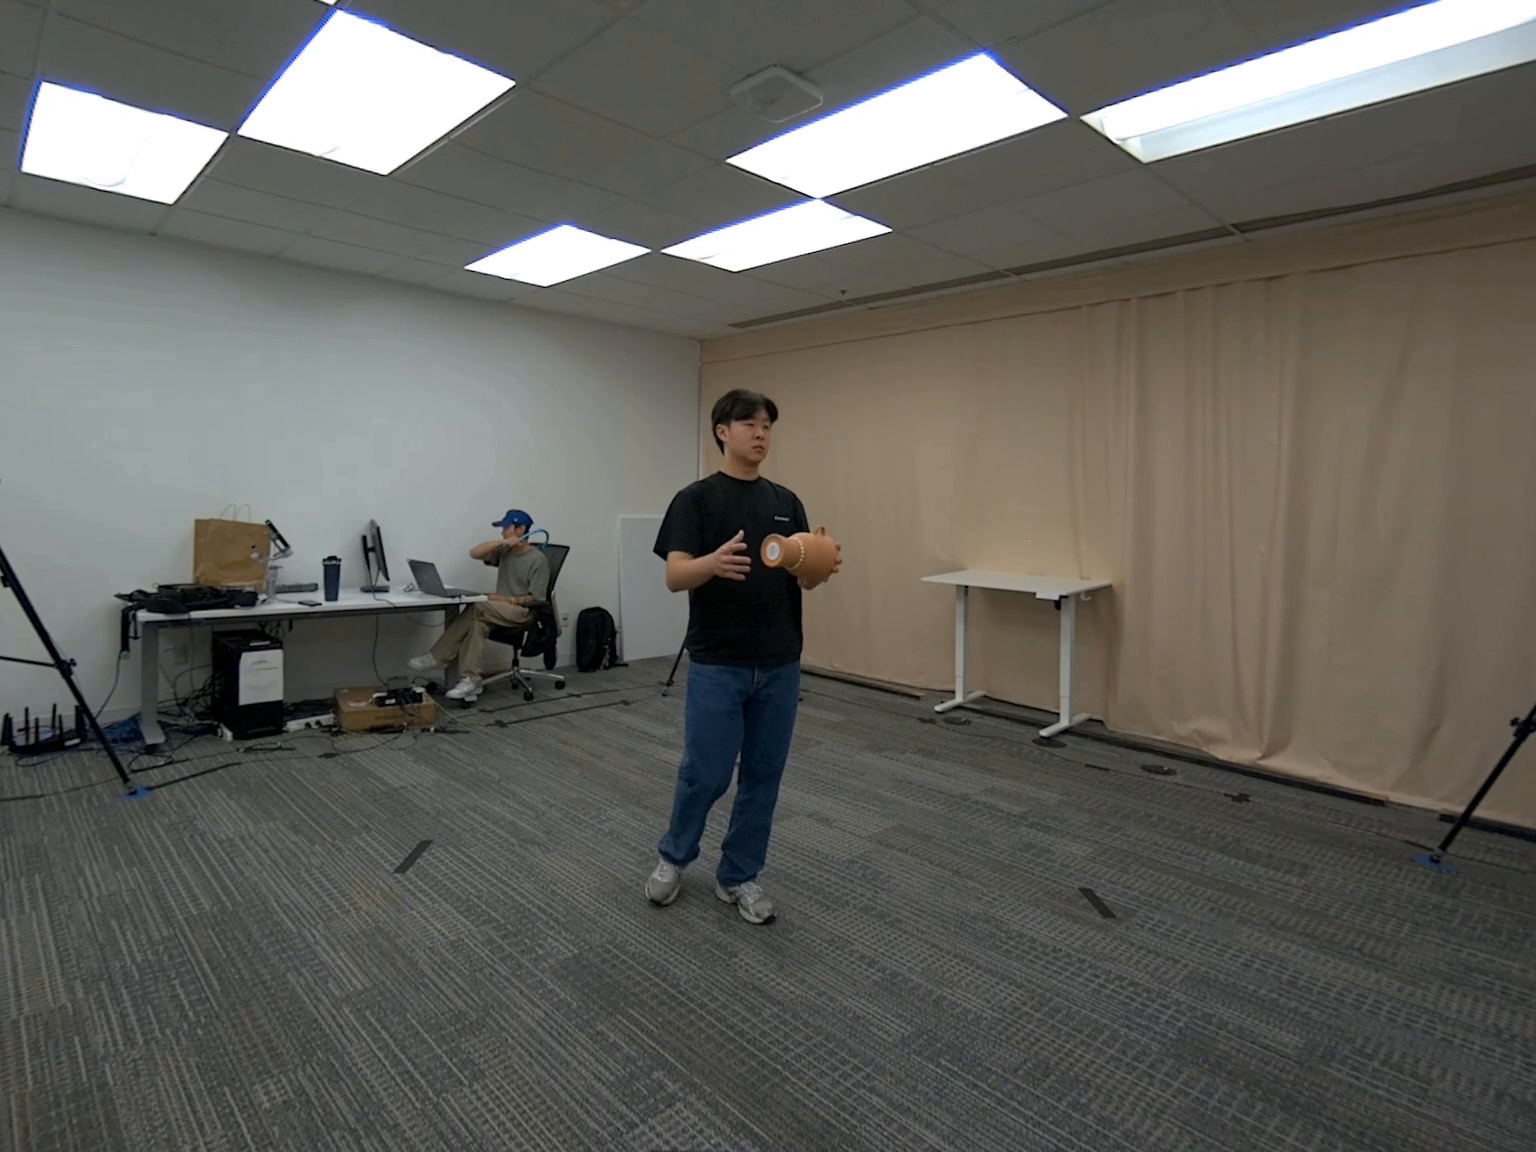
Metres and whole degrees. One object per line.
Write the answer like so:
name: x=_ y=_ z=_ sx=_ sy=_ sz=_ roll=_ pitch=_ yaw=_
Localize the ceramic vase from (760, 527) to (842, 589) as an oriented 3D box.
ceramic vase: x=0.069 y=-0.060 z=2.502 sx=0.214 sy=0.161 sz=0.136 roll=7 pitch=-26 yaw=-44
